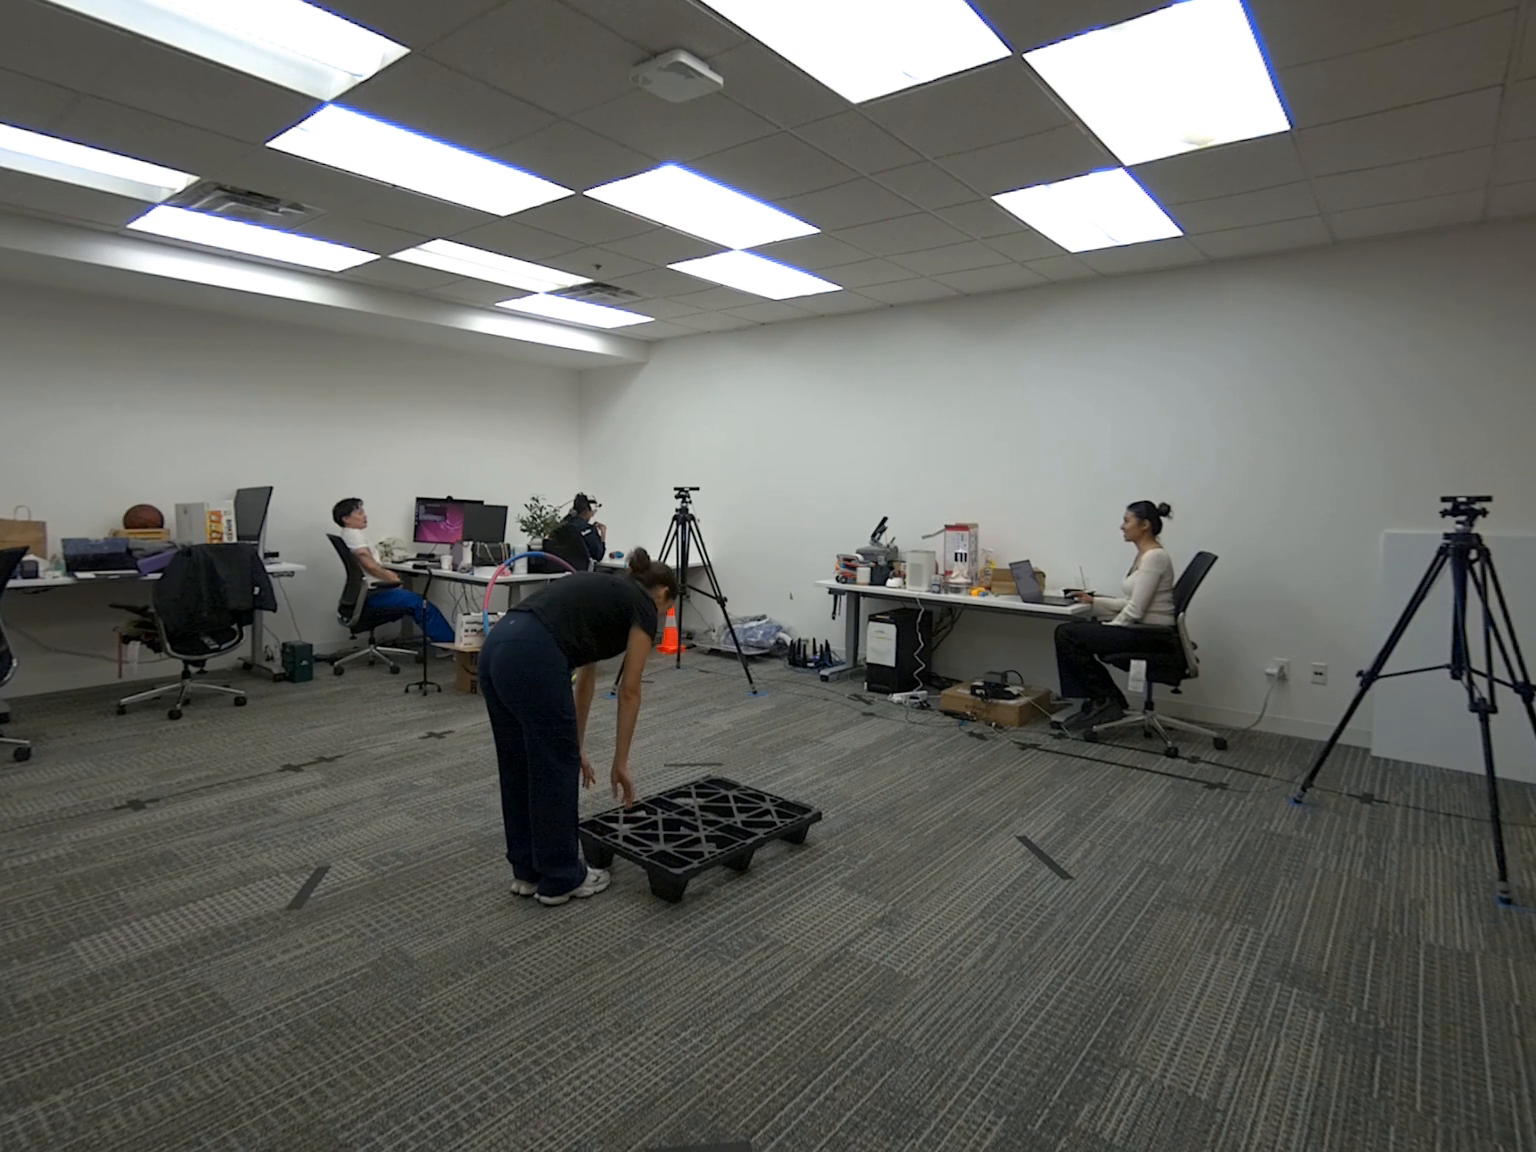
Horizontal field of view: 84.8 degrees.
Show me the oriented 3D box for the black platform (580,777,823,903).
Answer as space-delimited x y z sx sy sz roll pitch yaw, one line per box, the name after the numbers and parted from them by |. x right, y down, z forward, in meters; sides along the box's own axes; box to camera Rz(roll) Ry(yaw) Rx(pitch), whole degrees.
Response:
-0.241 0.986 3.270 0.626 0.142 0.782 6 8 42 | black platform
